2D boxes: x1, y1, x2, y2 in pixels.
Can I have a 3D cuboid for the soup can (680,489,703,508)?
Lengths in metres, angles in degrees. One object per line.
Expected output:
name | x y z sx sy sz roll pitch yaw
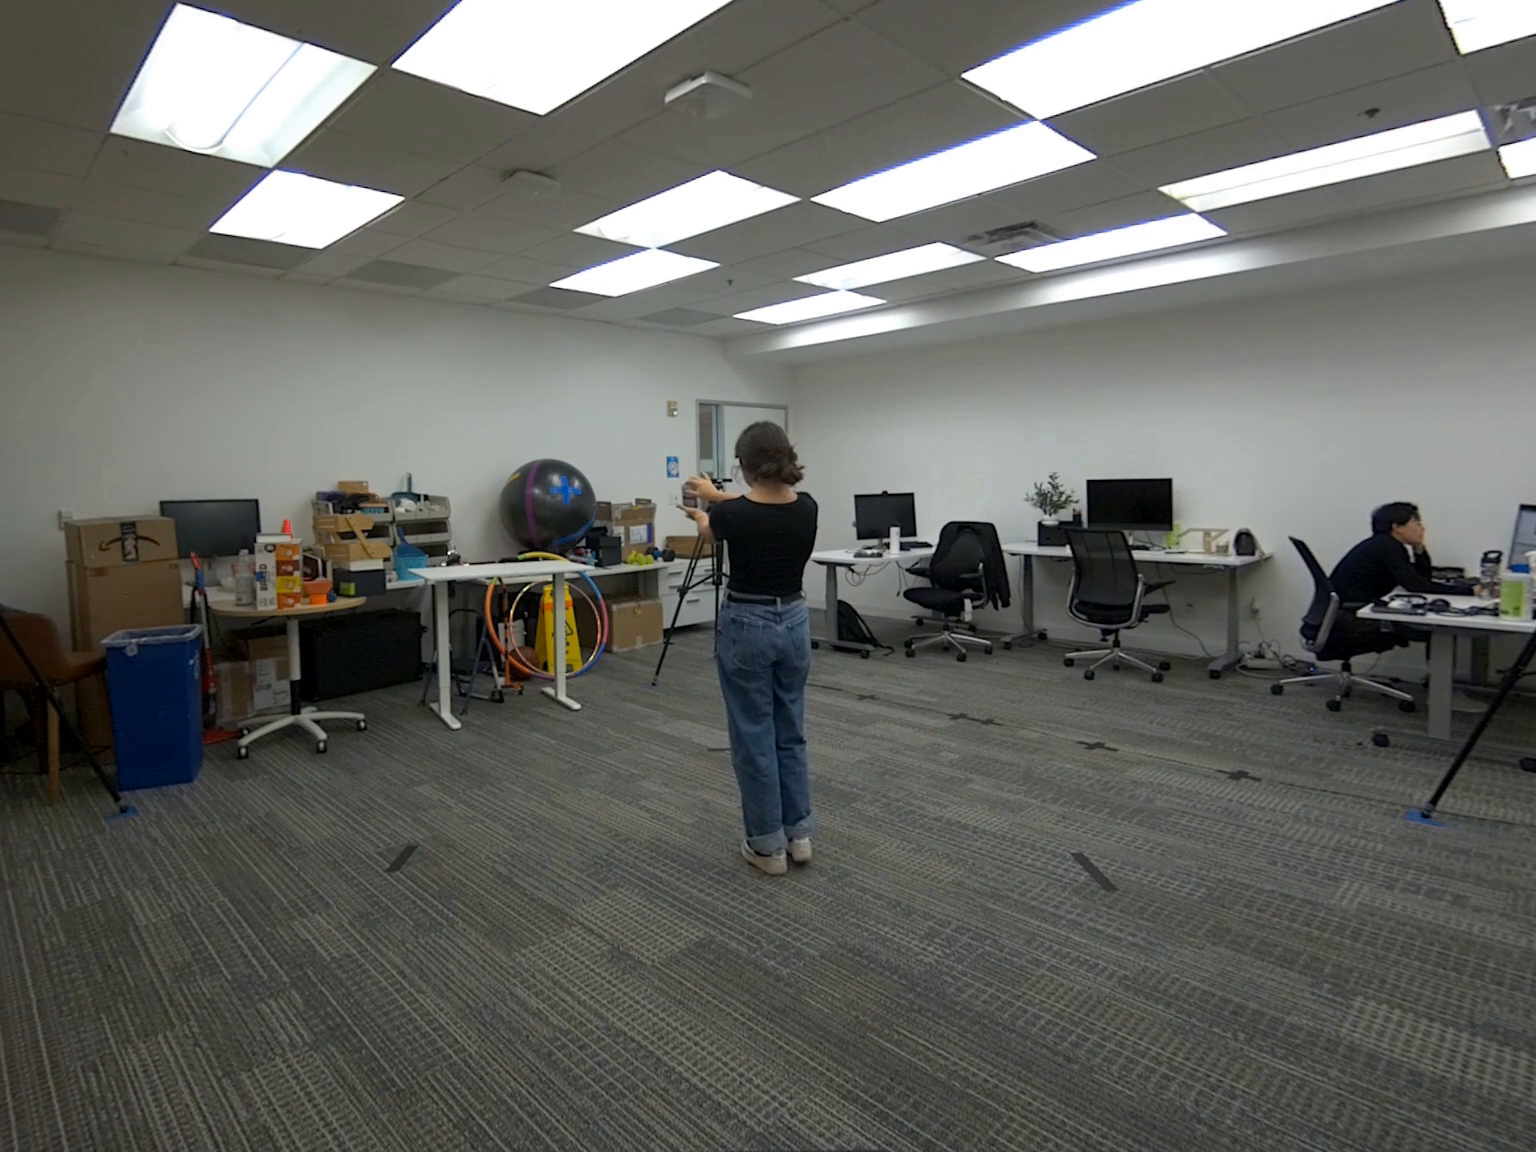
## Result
soup can | -0.314 -0.334 3.491 0.067 0.119 0.069 -1 29 -1
